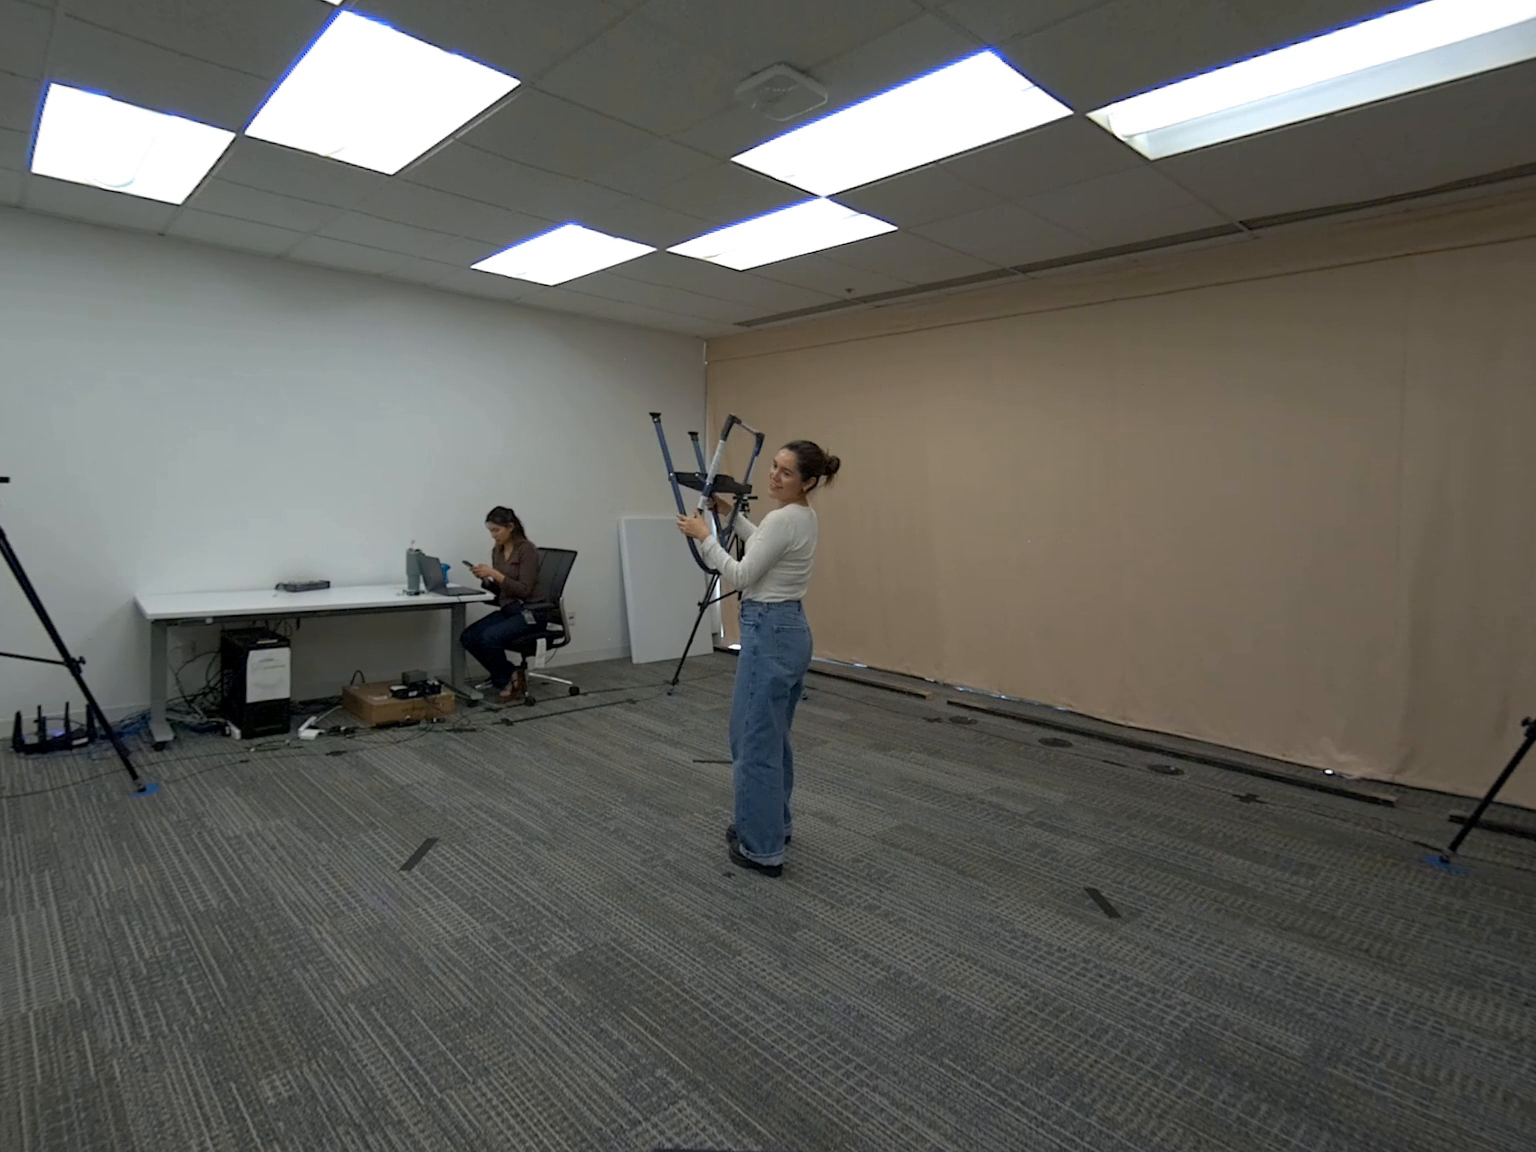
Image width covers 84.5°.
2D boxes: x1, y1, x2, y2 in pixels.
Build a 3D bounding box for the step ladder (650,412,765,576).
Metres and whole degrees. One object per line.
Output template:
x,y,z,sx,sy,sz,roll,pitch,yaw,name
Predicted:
-0.264,-0.309,3.390,0.355,0.607,0.423,3,-1,19,step ladder
